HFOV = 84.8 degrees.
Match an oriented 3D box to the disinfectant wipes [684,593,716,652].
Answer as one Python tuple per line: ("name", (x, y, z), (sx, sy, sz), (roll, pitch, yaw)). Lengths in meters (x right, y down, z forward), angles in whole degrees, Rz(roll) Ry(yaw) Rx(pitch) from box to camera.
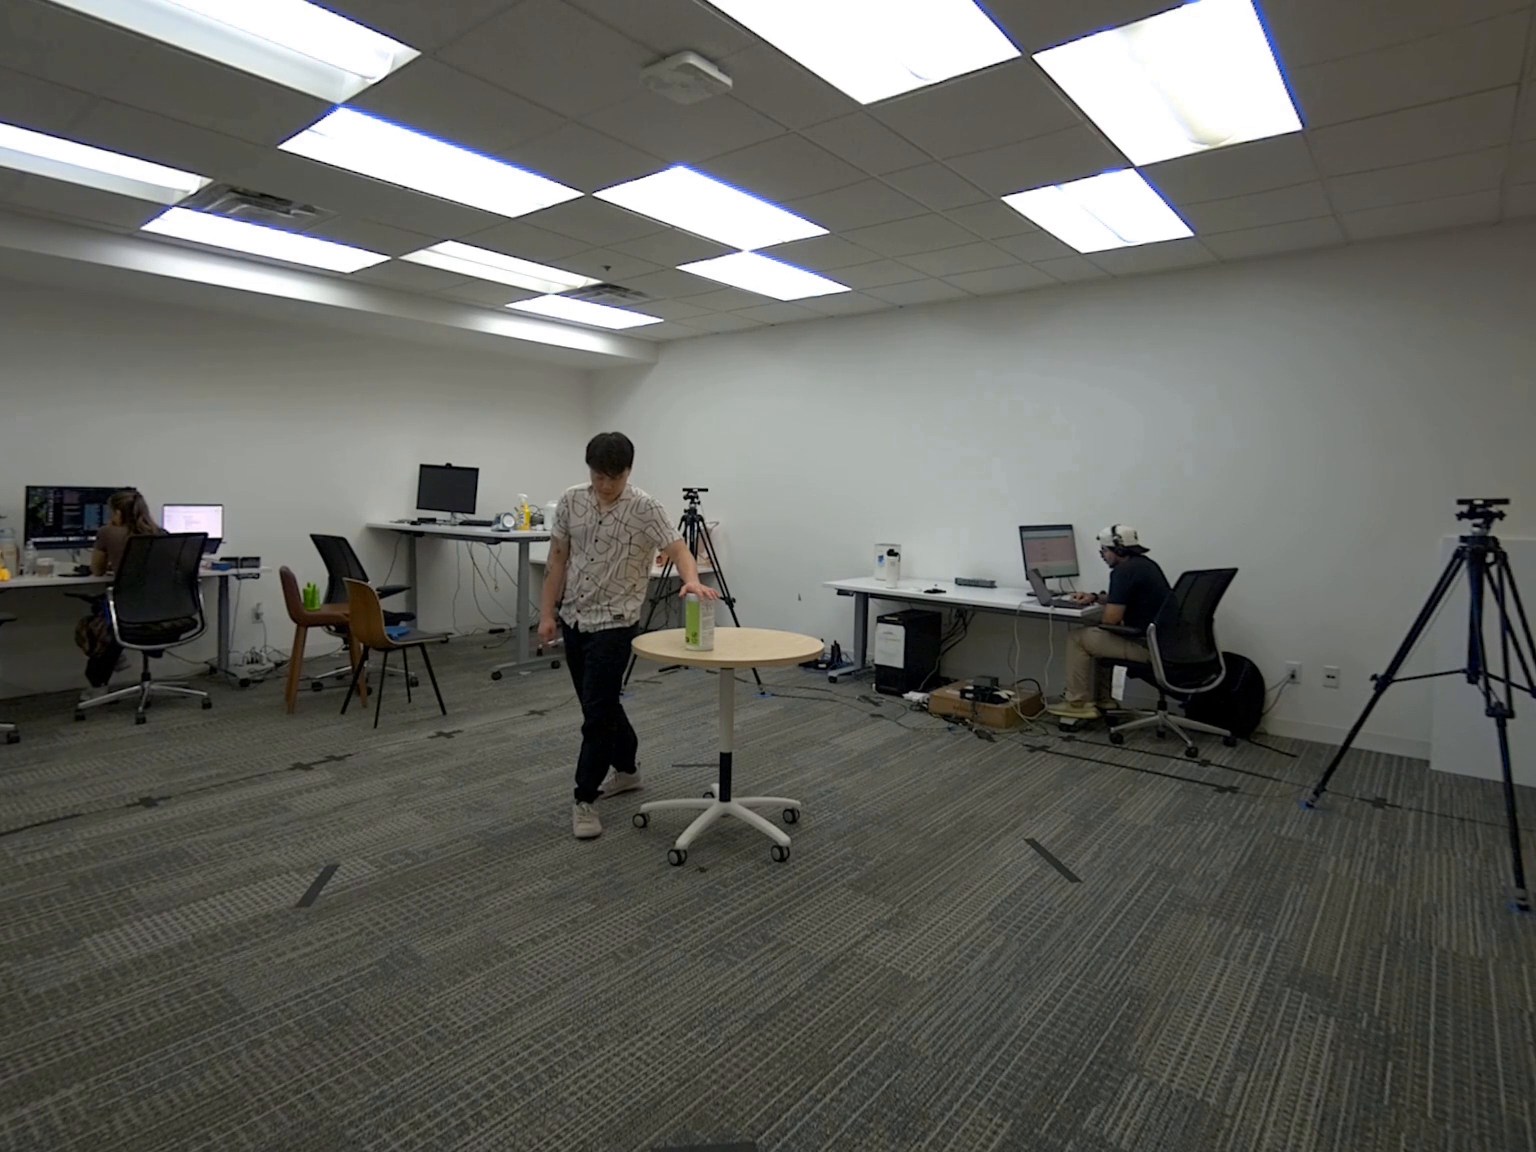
("disinfectant wipes", (-0.267, 0.173, 3.233), (0.118, 0.217, 0.118), (-1, 3, -2))
